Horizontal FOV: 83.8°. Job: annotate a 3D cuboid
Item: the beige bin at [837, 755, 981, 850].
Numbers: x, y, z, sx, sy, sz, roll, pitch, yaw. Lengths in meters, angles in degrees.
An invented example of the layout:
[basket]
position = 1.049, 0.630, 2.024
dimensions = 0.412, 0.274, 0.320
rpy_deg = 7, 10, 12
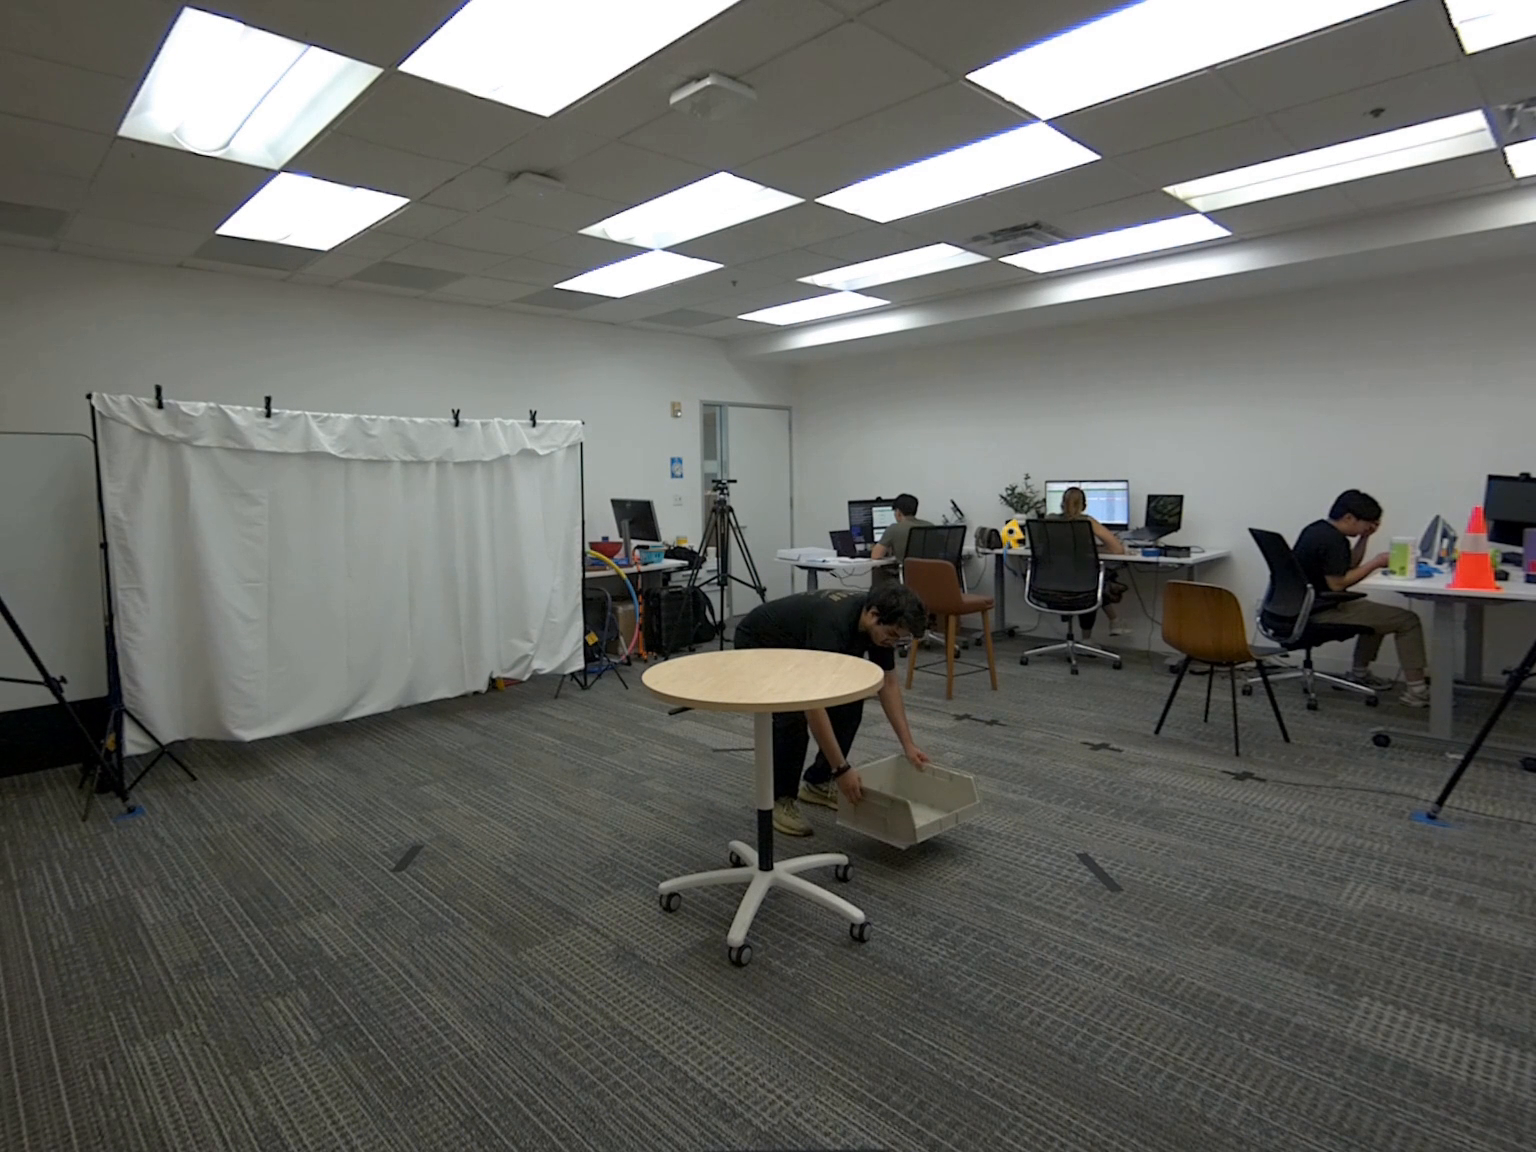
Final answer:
[beige bin]
position = 0.520, 0.832, 3.200
dimensions = 0.411, 0.188, 0.389
rpy_deg = -6, 7, -43
